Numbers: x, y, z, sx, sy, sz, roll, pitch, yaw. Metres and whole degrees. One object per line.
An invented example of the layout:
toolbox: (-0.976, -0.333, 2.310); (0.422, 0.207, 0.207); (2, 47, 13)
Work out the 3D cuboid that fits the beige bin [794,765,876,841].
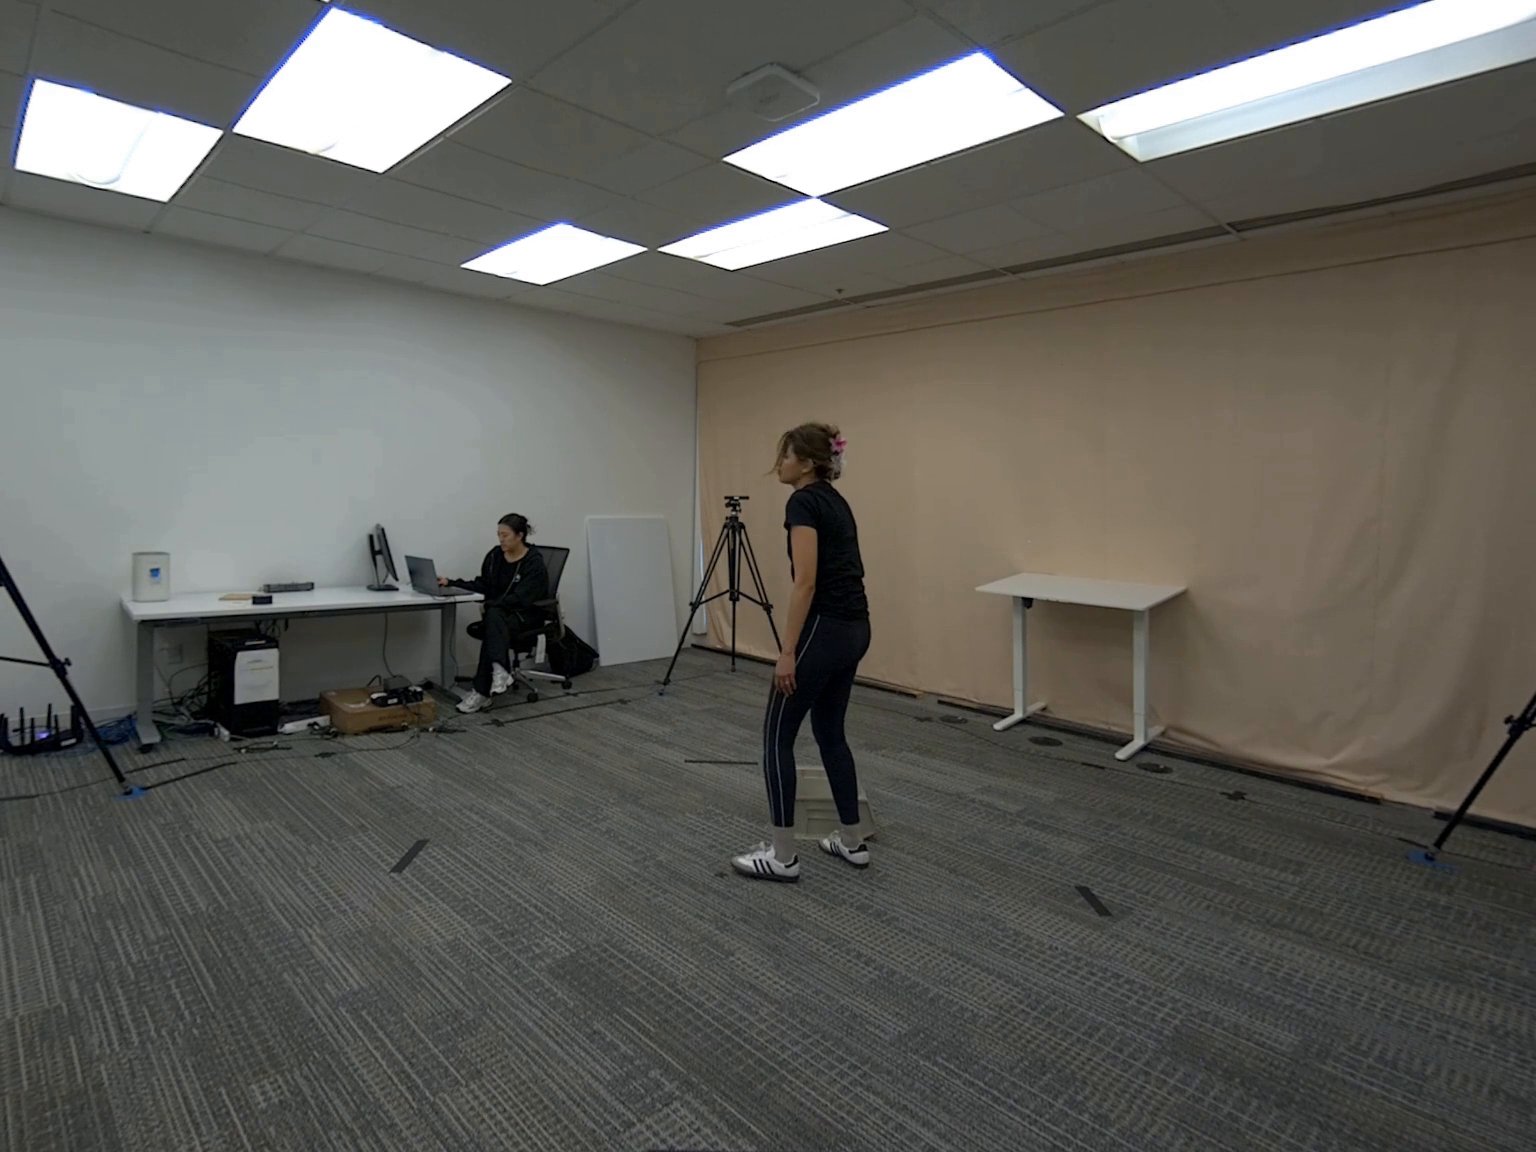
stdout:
beige bin: (0.247, 0.979, 3.646); (0.378, 0.188, 0.423); (1, 5, 0)
